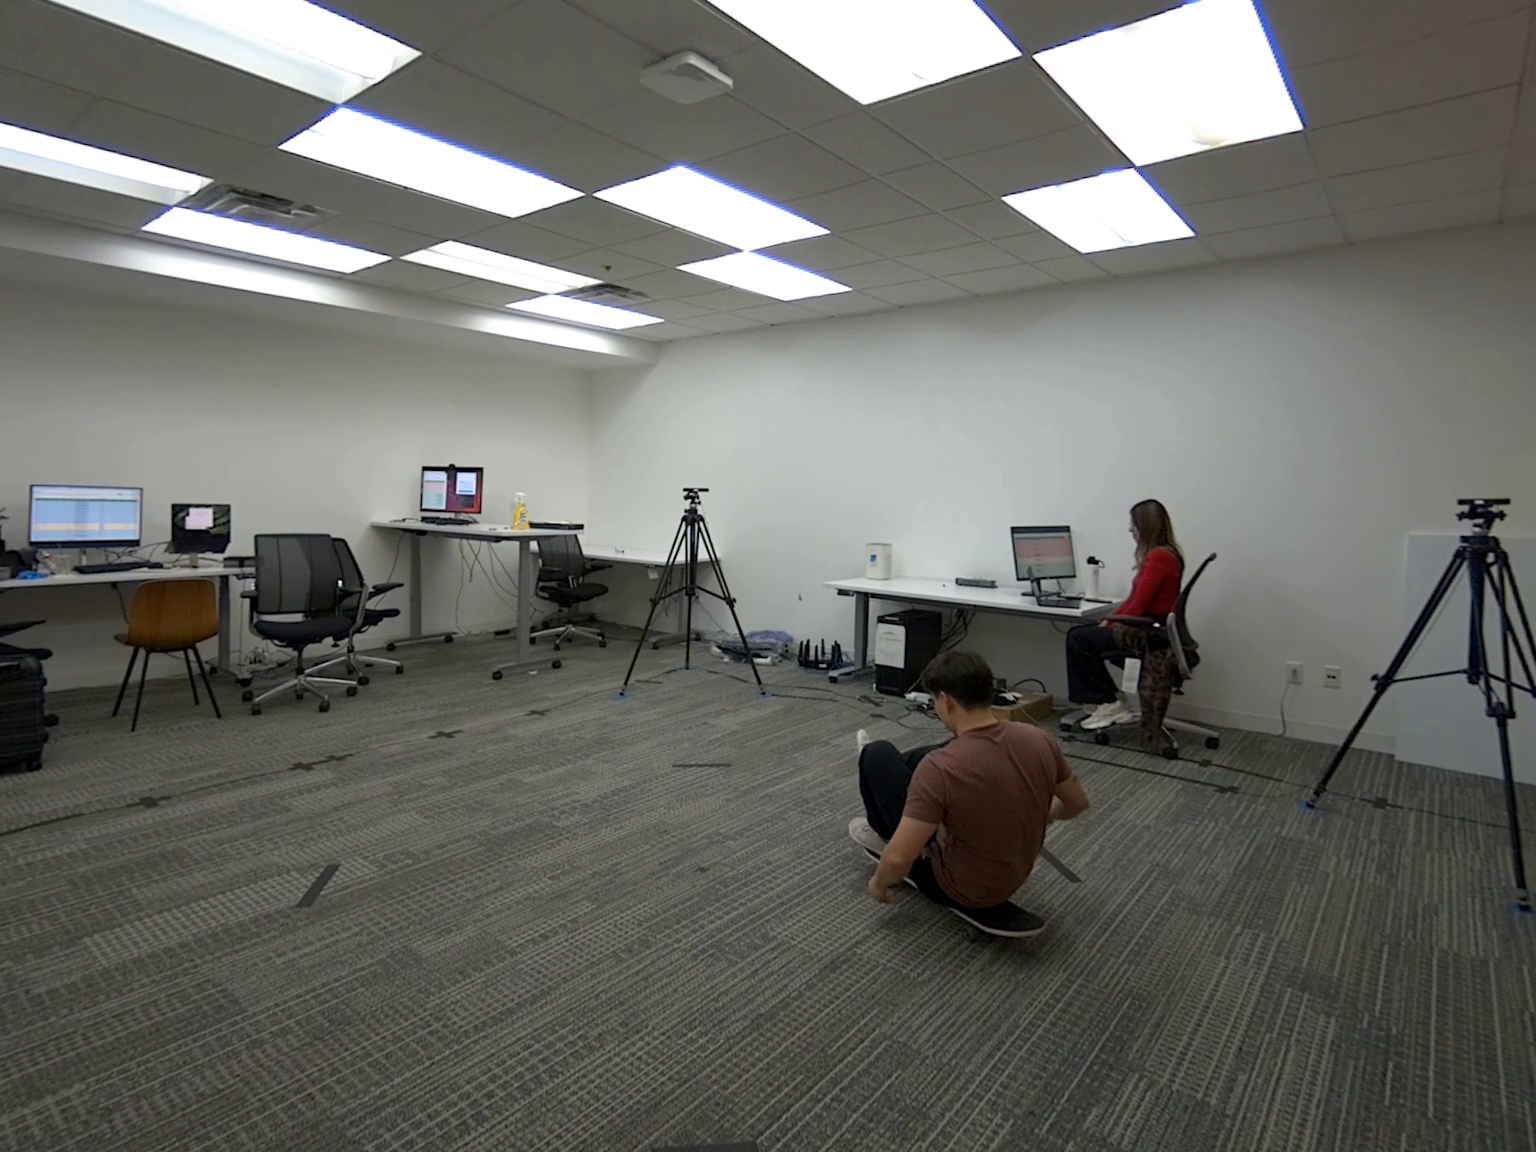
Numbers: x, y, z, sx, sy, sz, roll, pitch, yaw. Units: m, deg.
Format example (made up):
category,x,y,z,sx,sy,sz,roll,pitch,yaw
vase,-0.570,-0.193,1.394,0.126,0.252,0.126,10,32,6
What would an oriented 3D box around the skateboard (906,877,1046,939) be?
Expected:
category,x,y,z,sx,sy,sz,roll,pitch,yaw
skateboard,0.573,1.049,2.870,0.188,0.110,0.811,-1,8,-31
